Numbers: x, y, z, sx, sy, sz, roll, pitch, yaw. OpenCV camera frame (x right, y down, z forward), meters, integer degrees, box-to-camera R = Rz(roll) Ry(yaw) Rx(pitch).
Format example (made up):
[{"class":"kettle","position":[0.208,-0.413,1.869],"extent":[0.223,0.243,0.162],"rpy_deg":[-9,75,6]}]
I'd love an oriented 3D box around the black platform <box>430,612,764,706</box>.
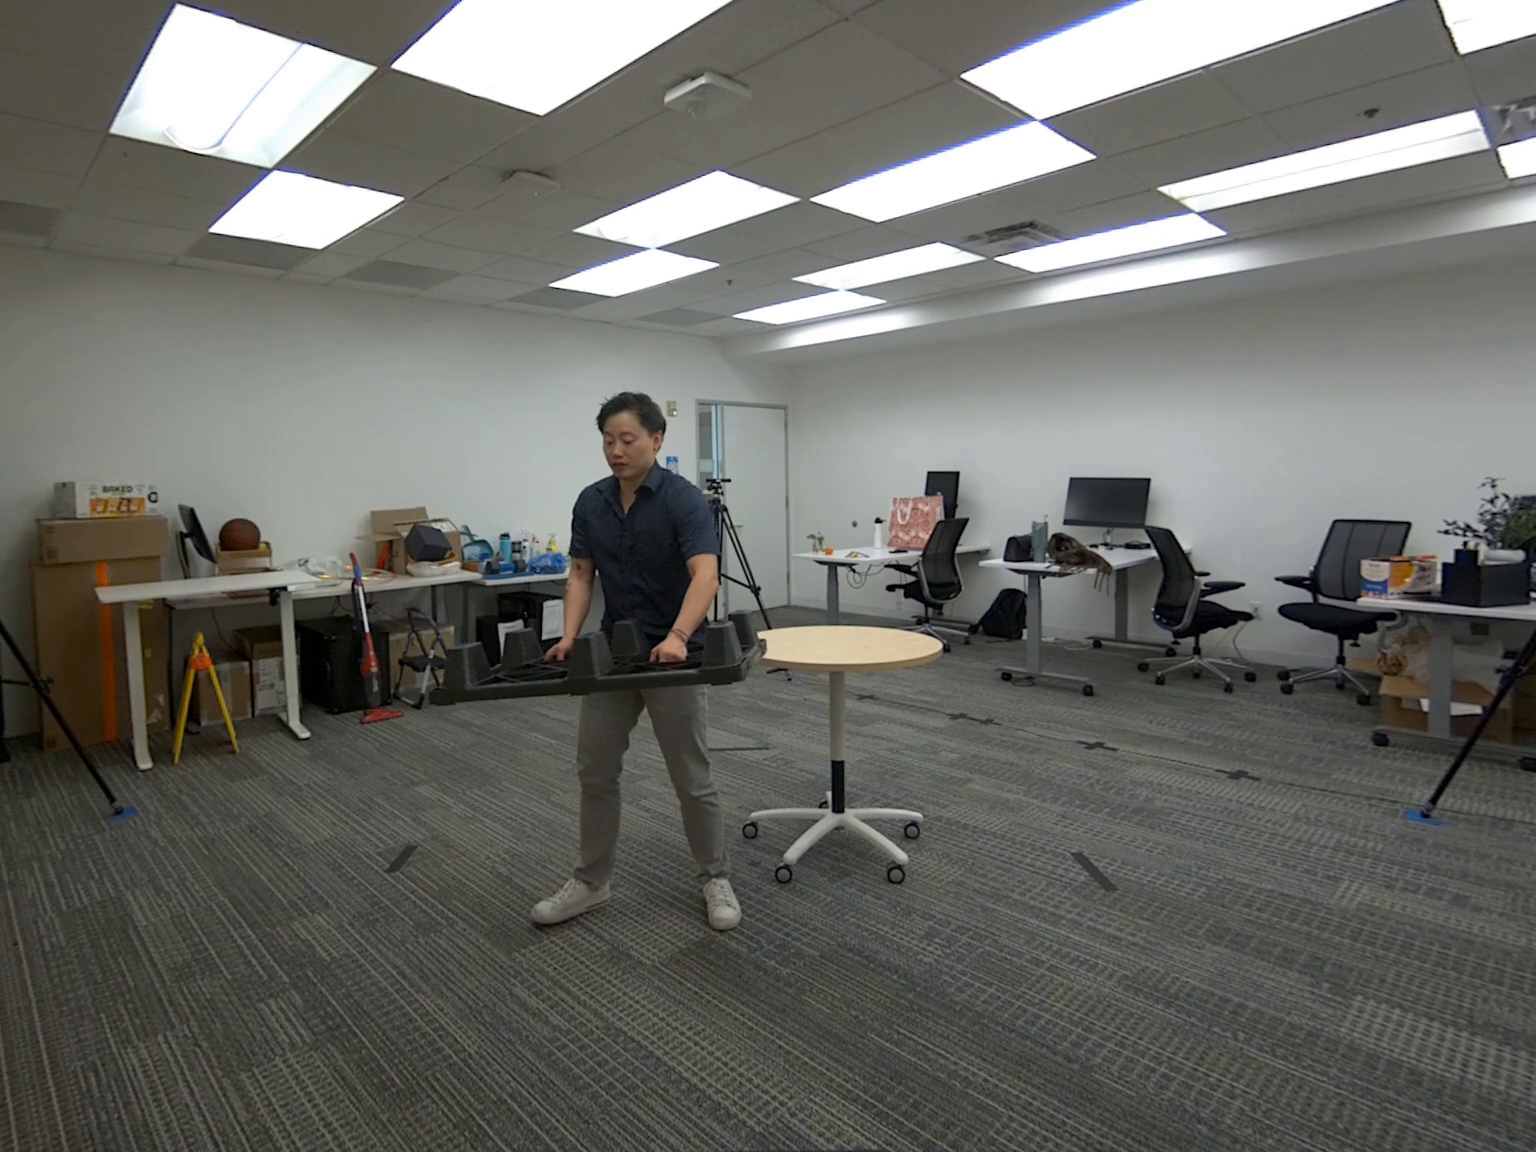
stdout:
[{"class":"black platform","position":[-0.431,0.213,2.354],"extent":[0.811,0.143,0.601],"rpy_deg":[-6,1,8]}]
